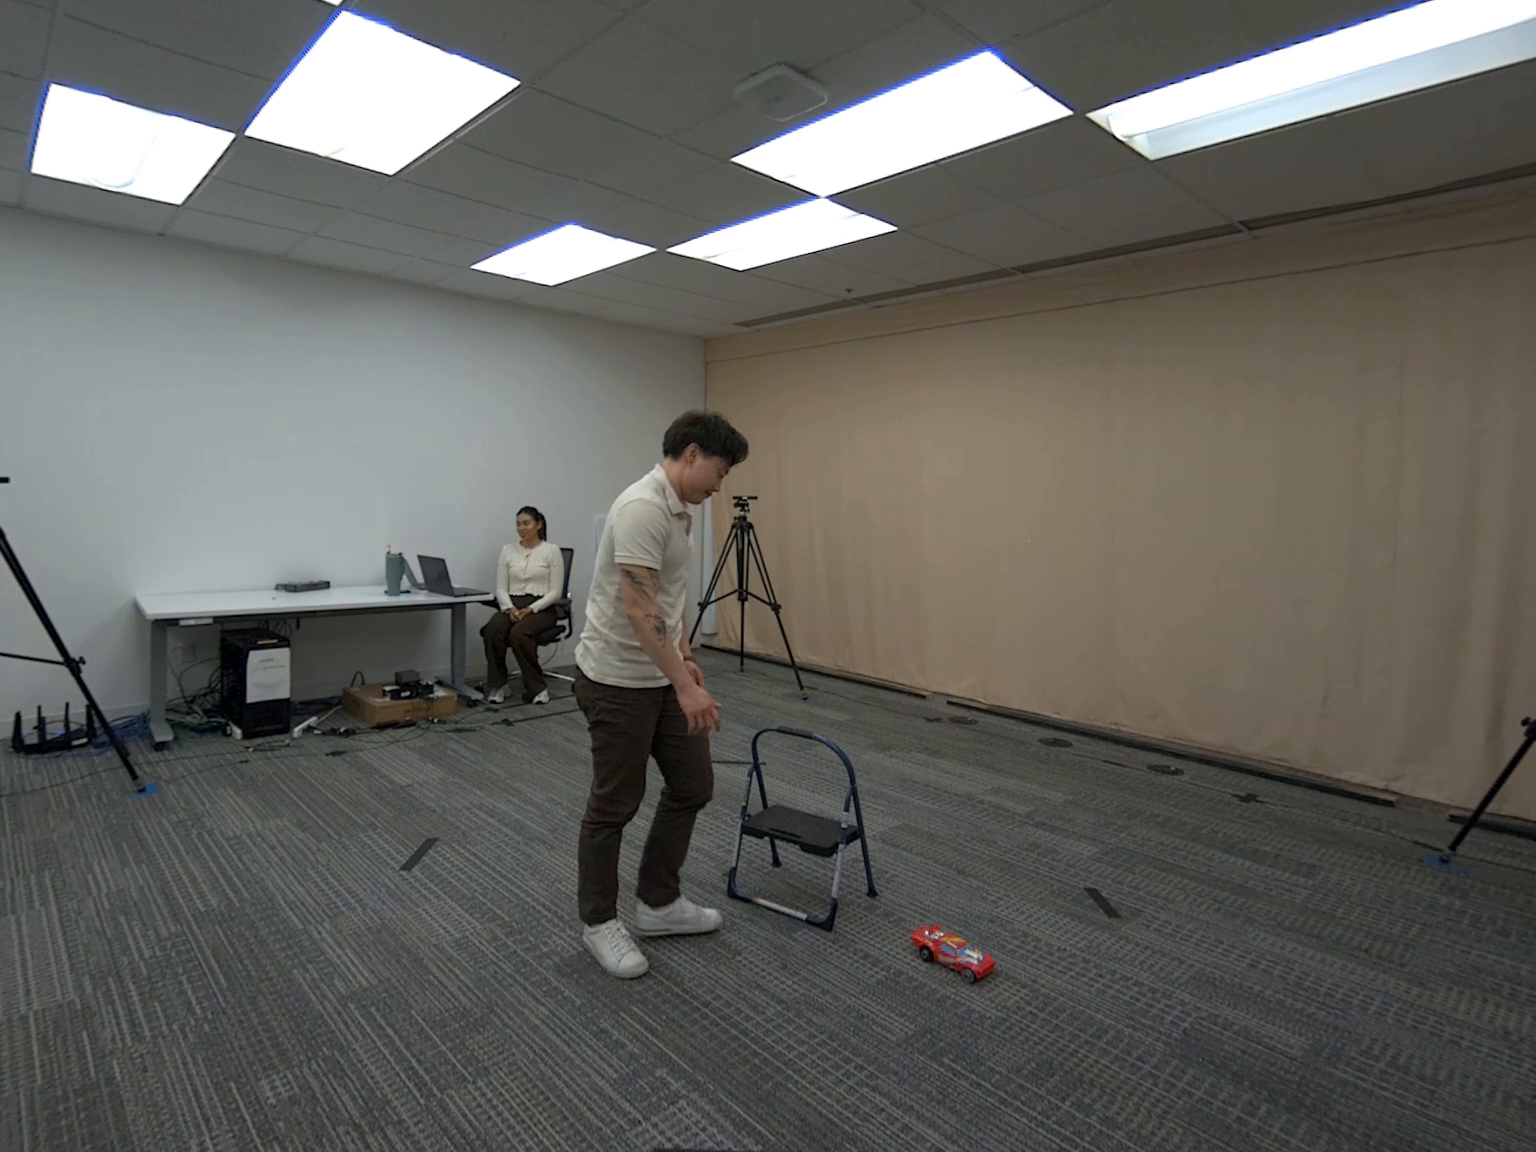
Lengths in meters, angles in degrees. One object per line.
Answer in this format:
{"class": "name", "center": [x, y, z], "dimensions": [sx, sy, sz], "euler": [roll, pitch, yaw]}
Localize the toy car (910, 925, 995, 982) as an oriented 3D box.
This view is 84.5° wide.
{"class": "toy car", "center": [0.549, 1.141, 2.546], "dimensions": [0.127, 0.082, 0.262], "euler": [-3, 17, -43]}
